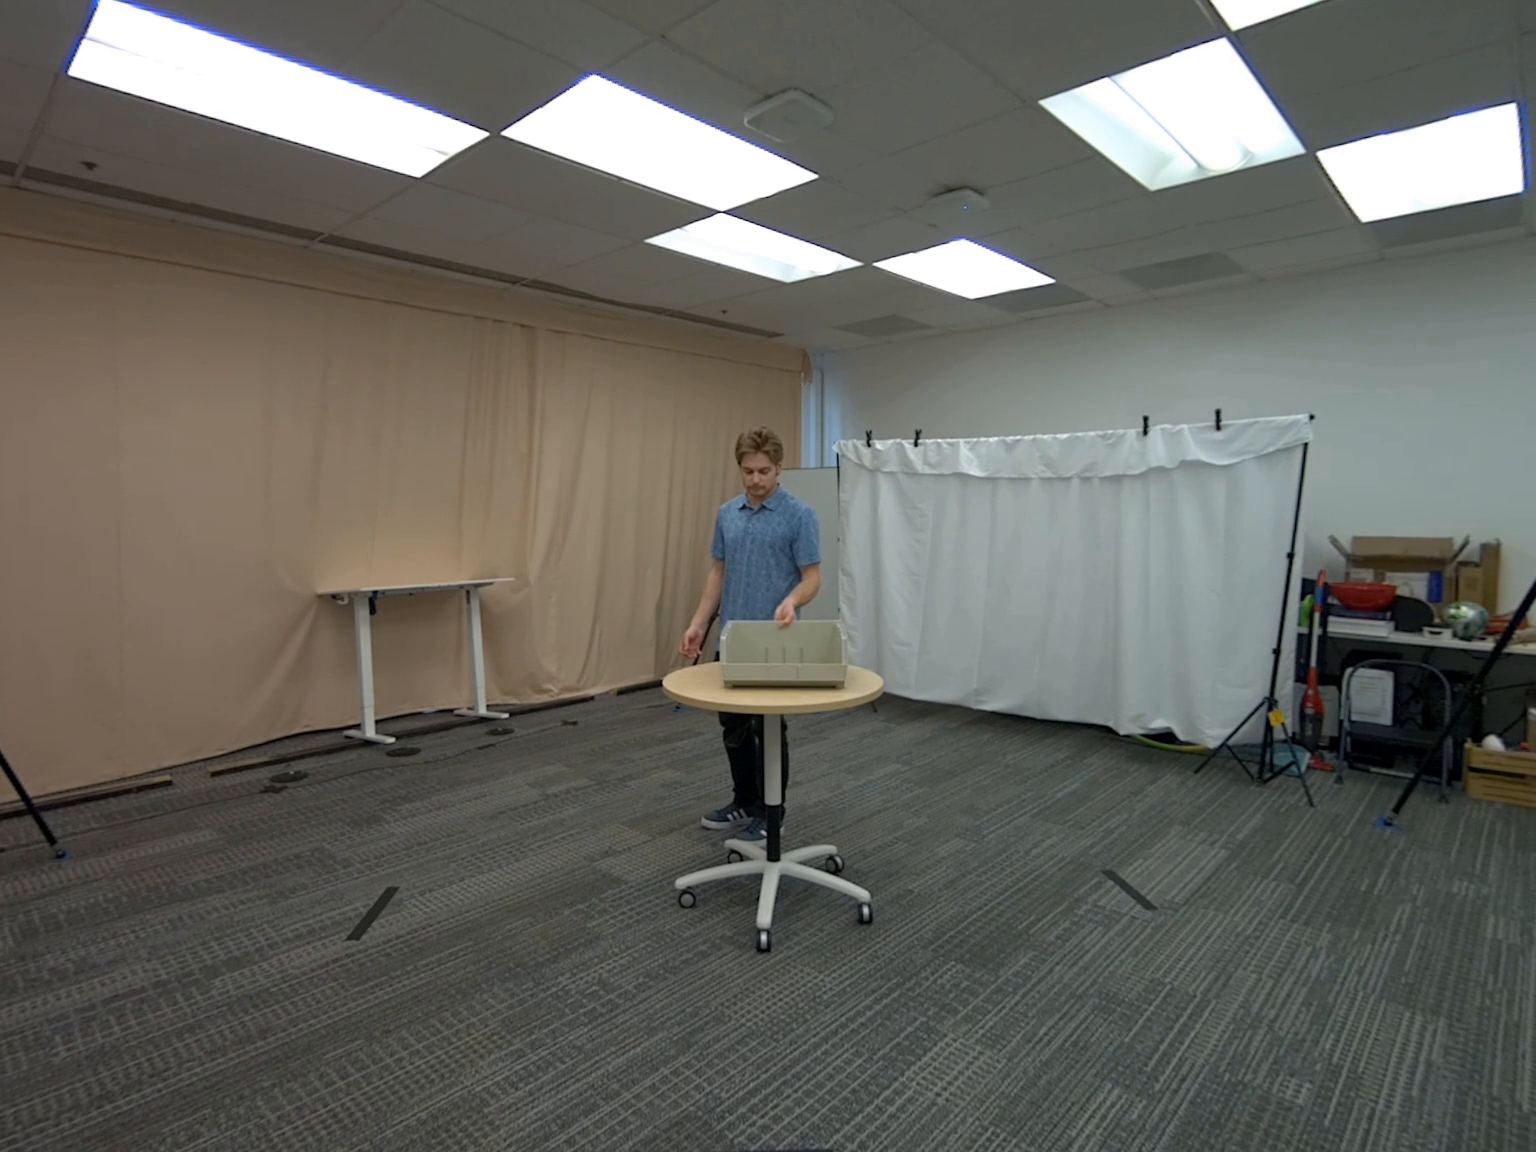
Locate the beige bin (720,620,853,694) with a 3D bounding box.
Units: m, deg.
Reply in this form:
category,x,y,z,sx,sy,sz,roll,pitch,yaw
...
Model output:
category,x,y,z,sx,sy,sz,roll,pitch,yaw
beige bin,0.058,0.272,2.924,0.424,0.188,0.377,-1,4,2
